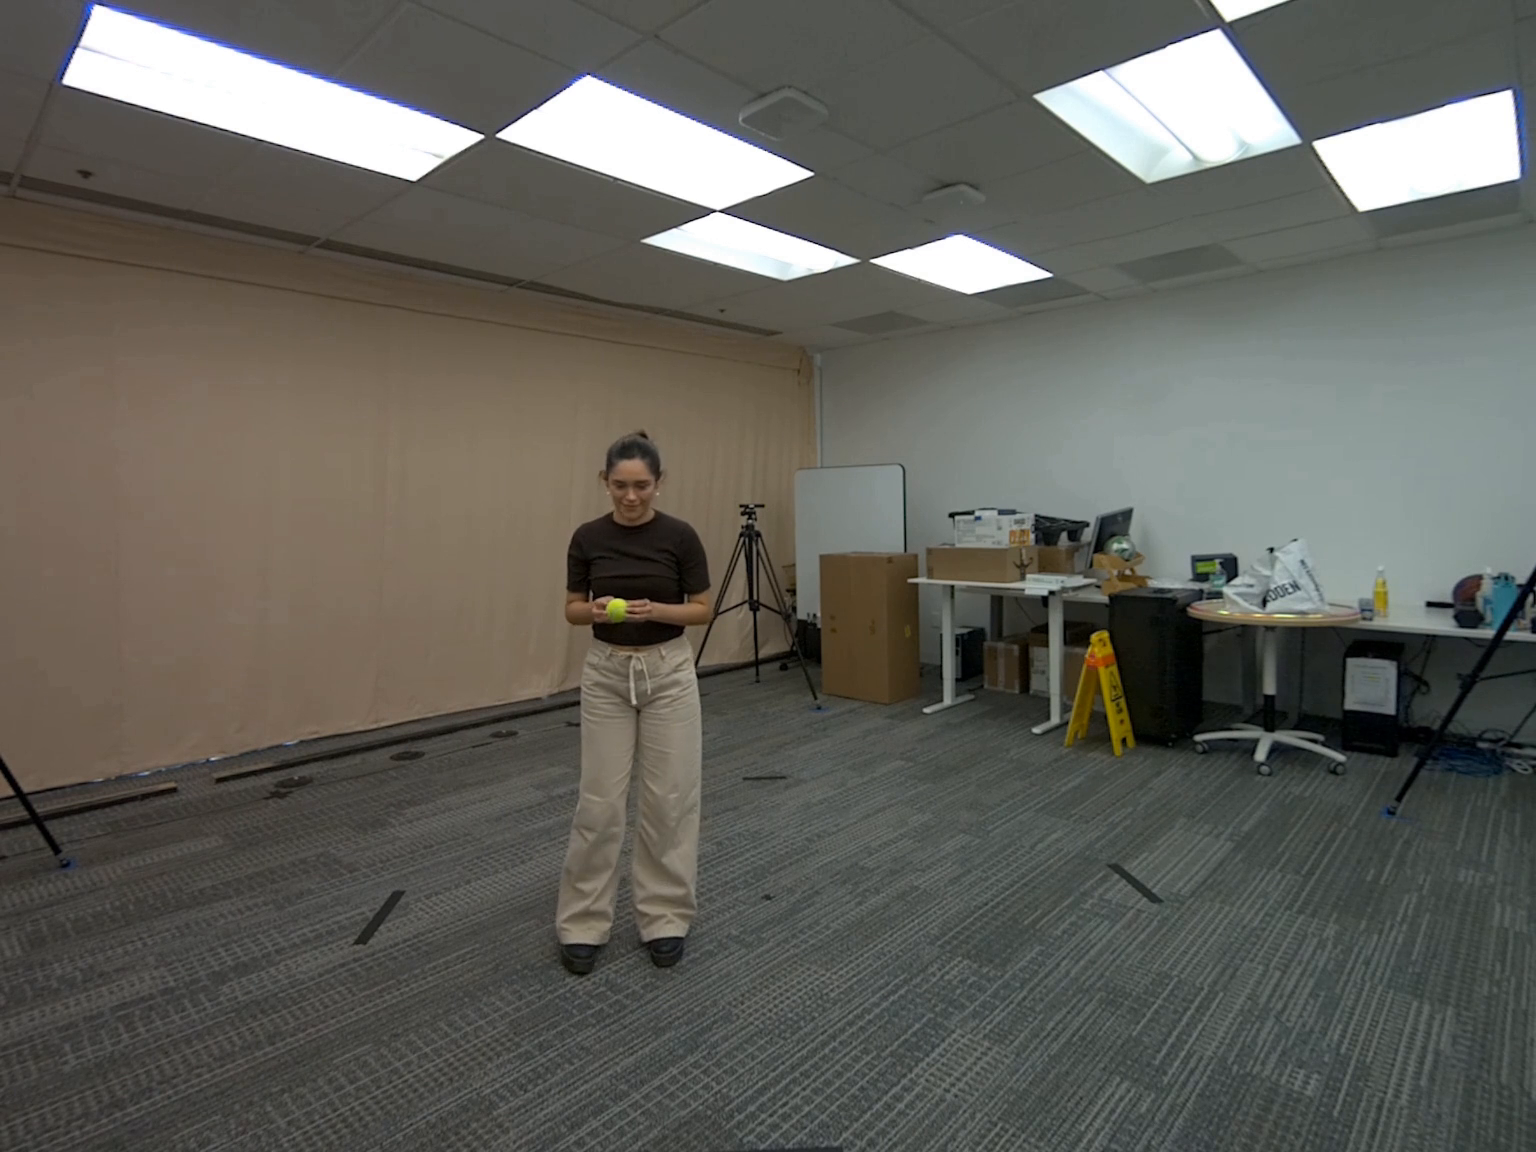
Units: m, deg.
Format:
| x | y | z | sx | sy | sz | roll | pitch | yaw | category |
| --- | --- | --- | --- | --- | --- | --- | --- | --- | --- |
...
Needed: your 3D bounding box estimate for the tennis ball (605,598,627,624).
| x | y | z | sx | sy | sz | roll | pitch | yaw | category |
| --- | --- | --- | --- | --- | --- | --- | --- | --- | --- |
| -0.436 | 0.099 | 2.420 | 0.066 | 0.066 | 0.067 | -1 | 4 | -2 | tennis ball |
